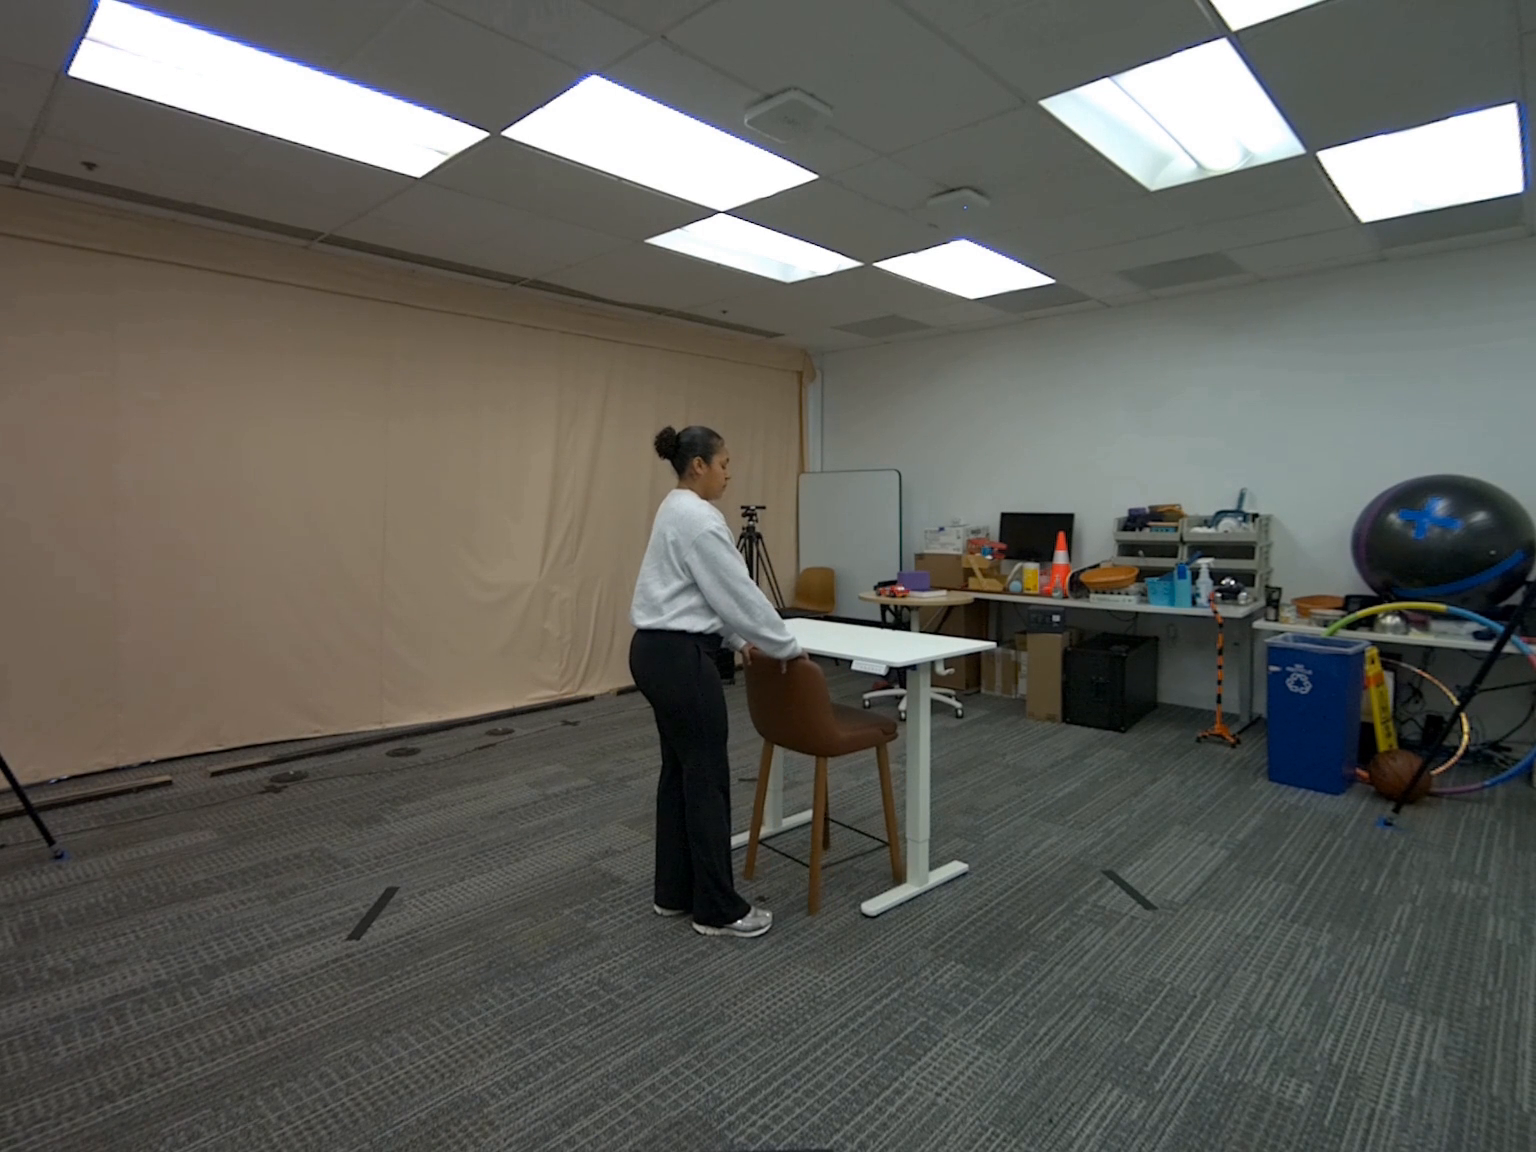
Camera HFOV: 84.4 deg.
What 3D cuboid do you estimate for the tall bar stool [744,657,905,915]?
[{"bbox_3d":[0.191,0.696,3.108,0.454,0.887,0.471,-6,6,-39],"label":"tall bar stool"}]
